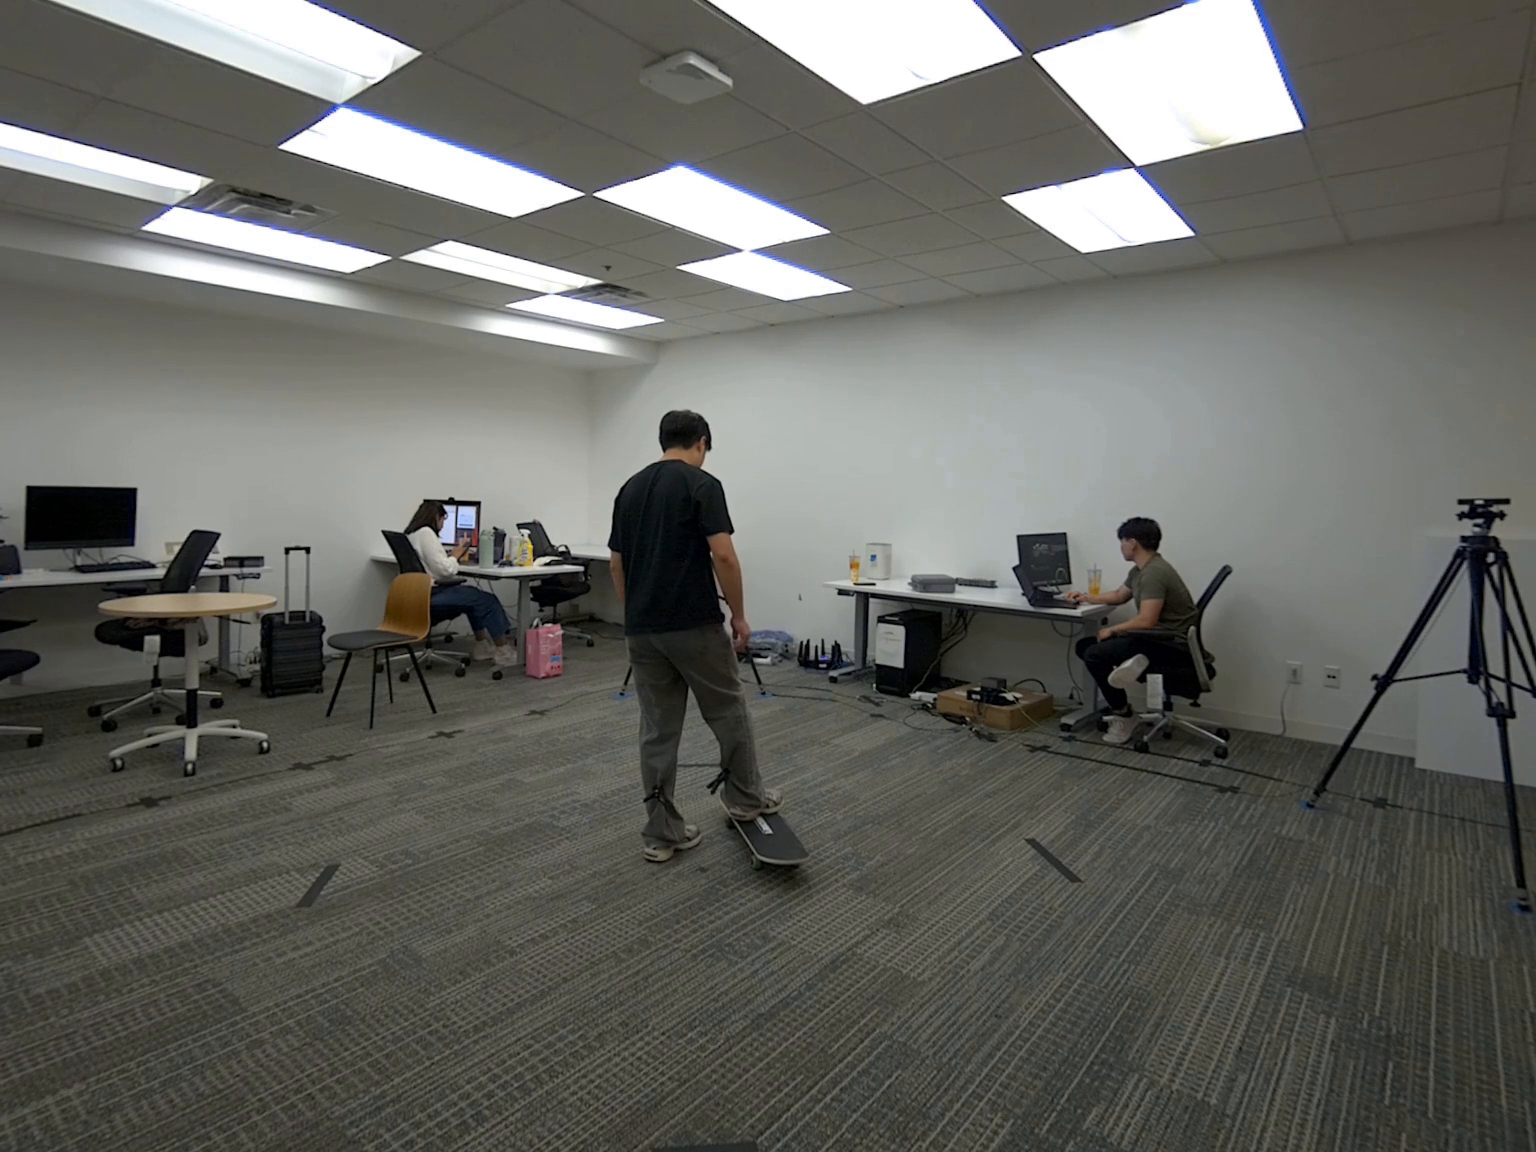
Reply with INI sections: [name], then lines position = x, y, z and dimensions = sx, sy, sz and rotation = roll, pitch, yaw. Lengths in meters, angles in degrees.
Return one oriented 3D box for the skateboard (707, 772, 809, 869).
[skateboard]
position = -0.033, 0.996, 3.328
dimensions = 0.190, 0.110, 0.800
rotation = 0, 5, -16
